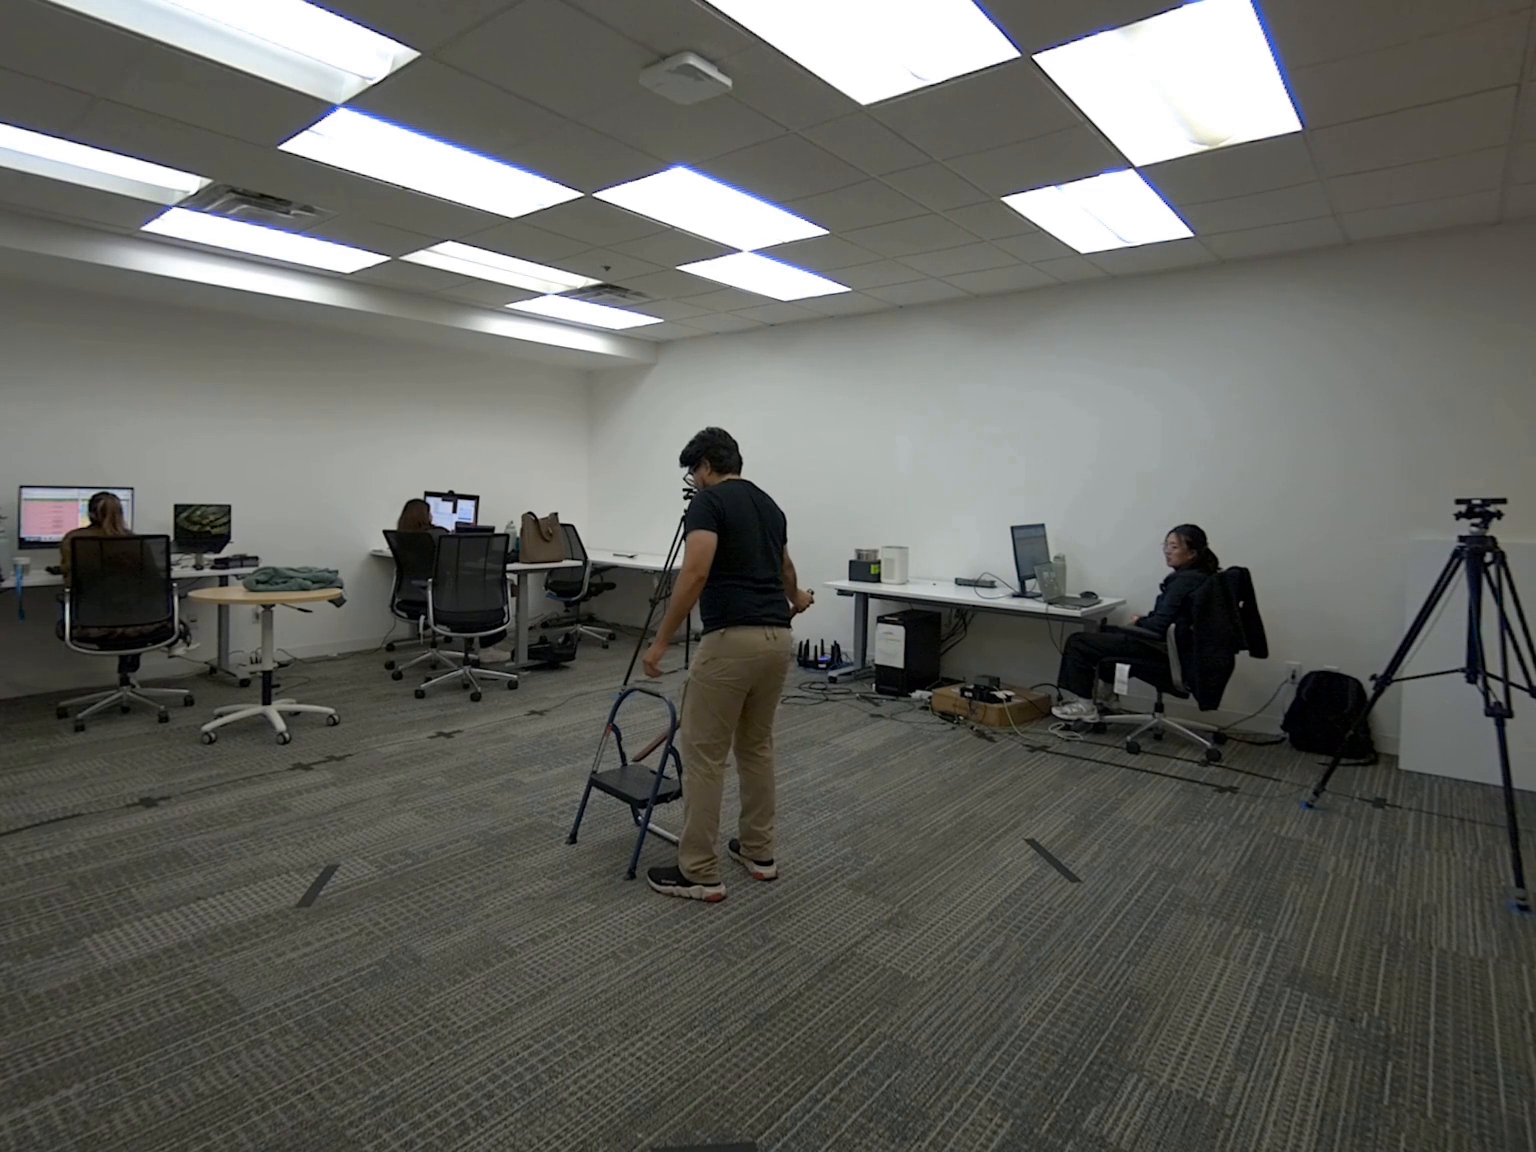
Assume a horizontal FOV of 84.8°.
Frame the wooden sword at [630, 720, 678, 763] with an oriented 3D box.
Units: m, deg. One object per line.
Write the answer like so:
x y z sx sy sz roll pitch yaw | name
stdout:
-0.193 0.436 3.461 1.022 0.049 0.025 -43 29 -15 | wooden sword
